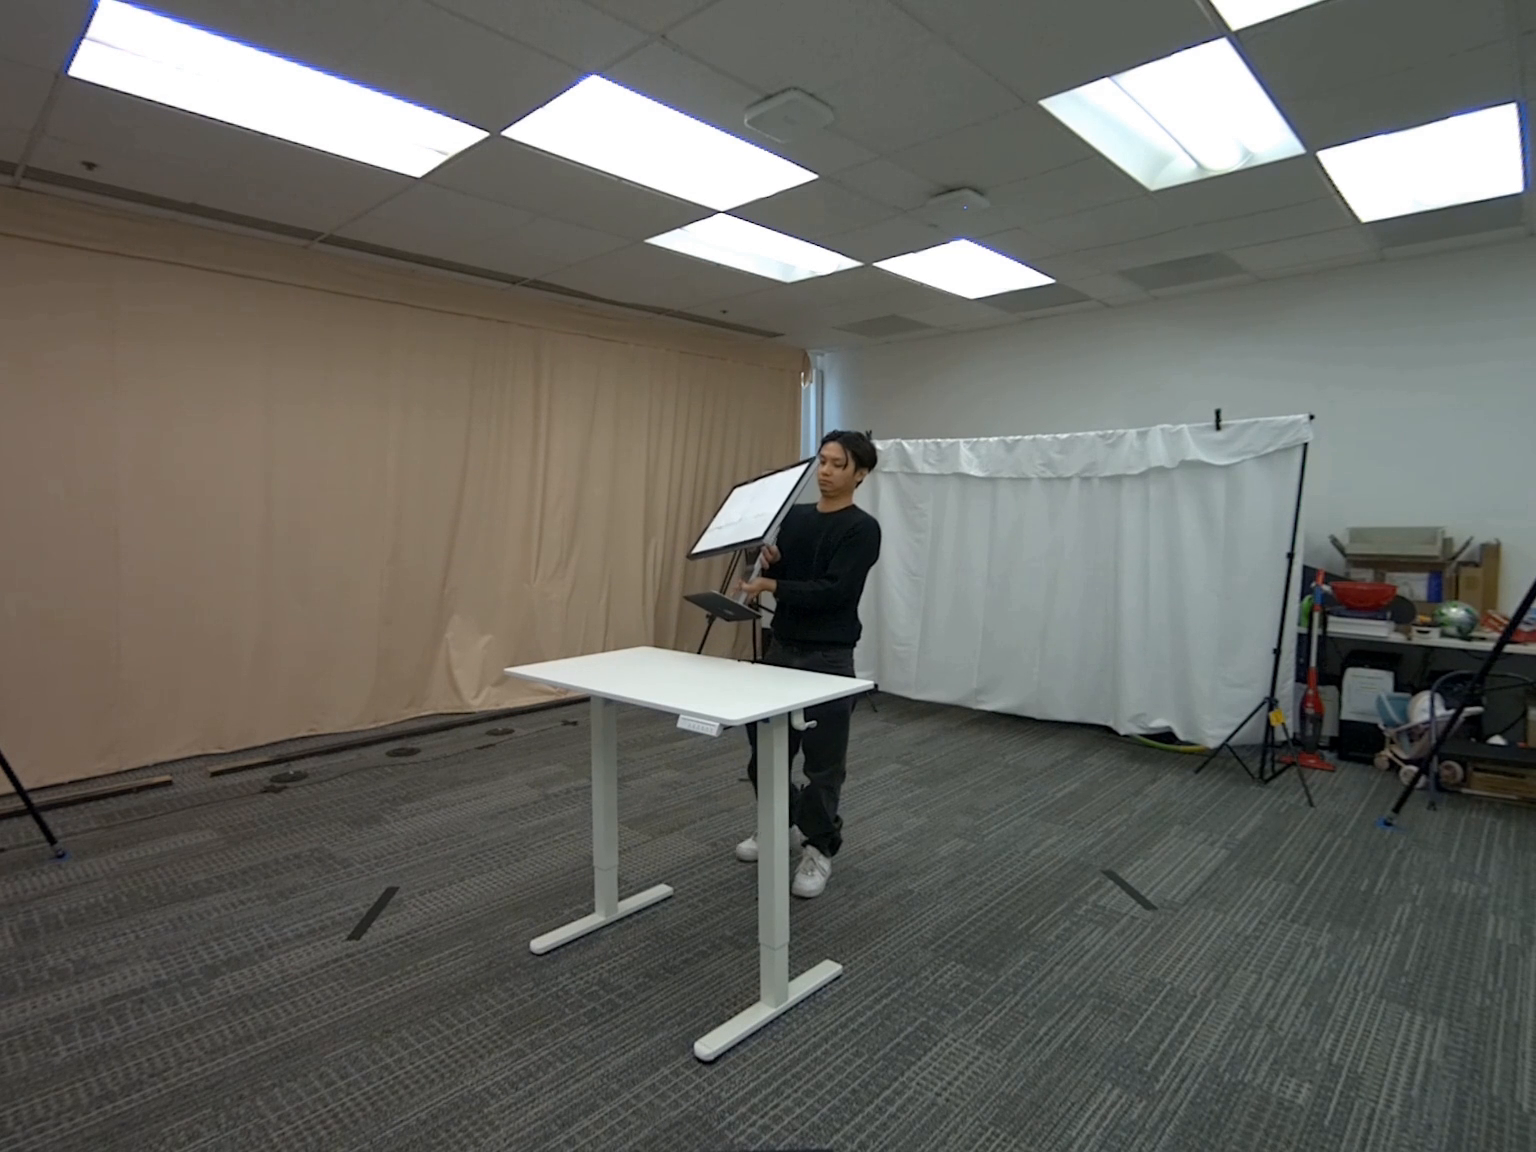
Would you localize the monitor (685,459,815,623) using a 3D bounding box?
[{"bbox_3d":[-0.071,-0.129,2.961,0.182,0.524,0.553,29,-19,-27],"label":"monitor"}]
